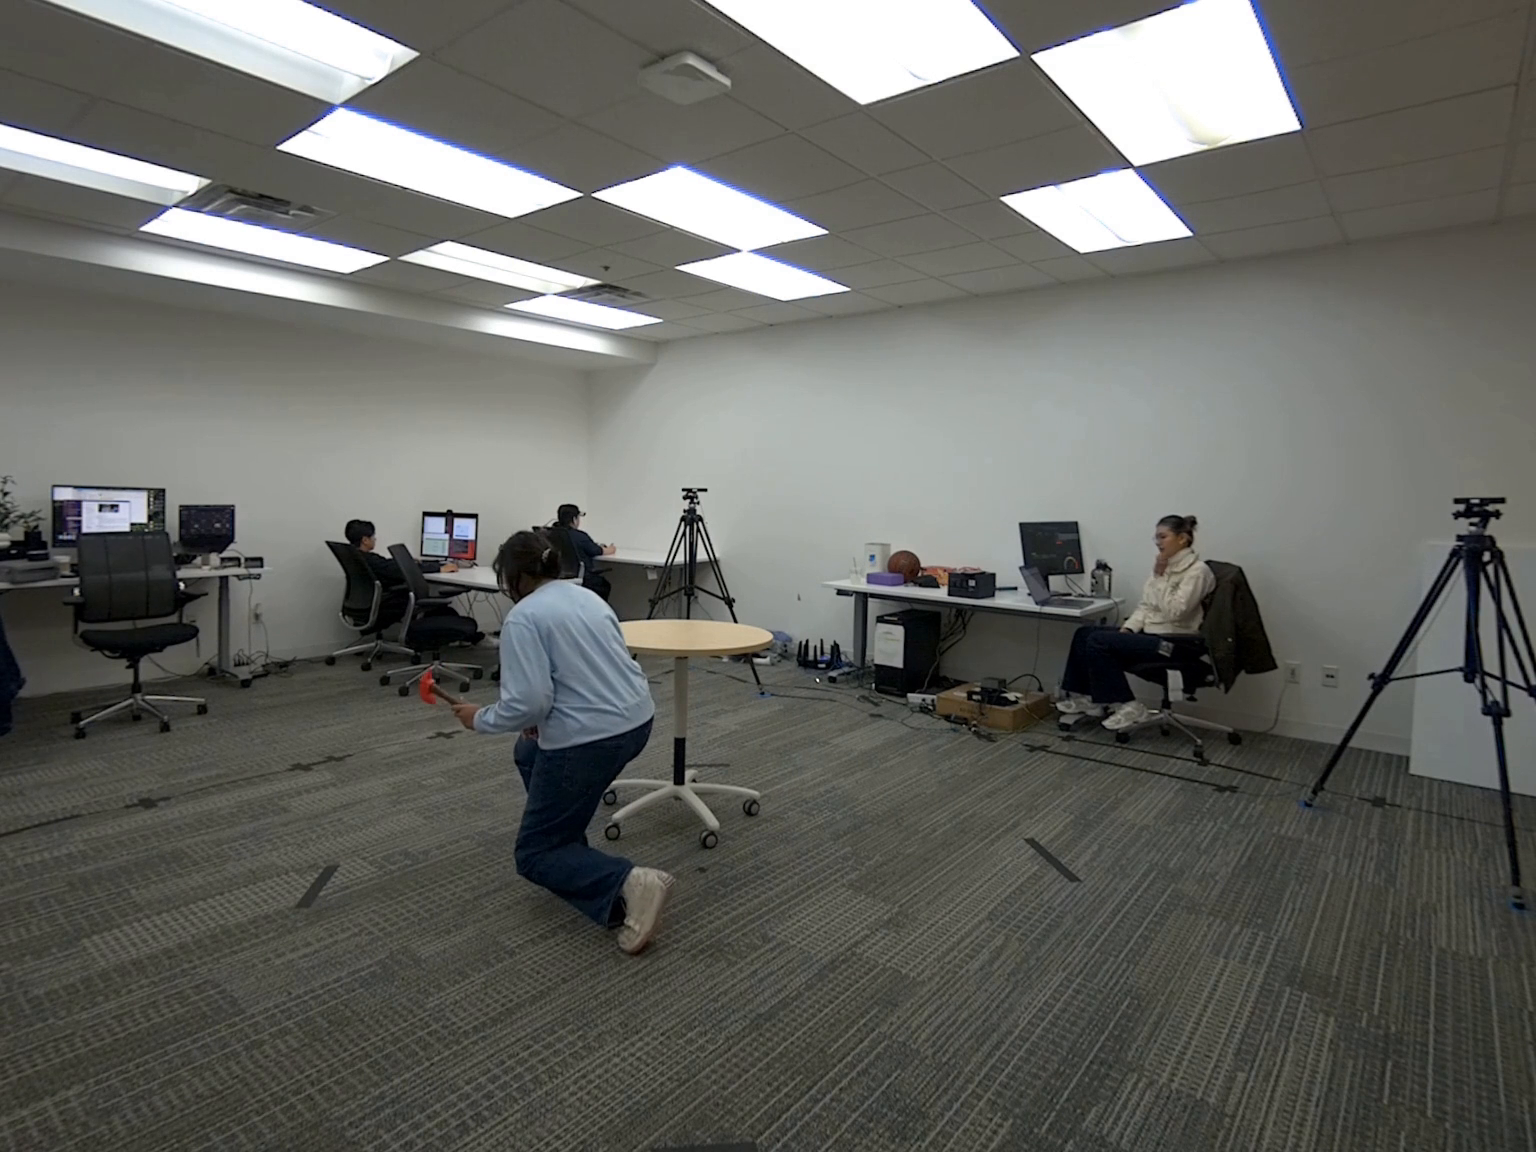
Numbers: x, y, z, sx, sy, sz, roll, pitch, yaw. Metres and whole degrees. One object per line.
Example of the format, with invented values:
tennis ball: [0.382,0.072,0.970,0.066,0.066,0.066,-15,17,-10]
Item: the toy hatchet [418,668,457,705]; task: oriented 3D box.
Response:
toy hatchet: [-1.093,0.431,2.884,0.275,0.131,0.029,43,18,12]
